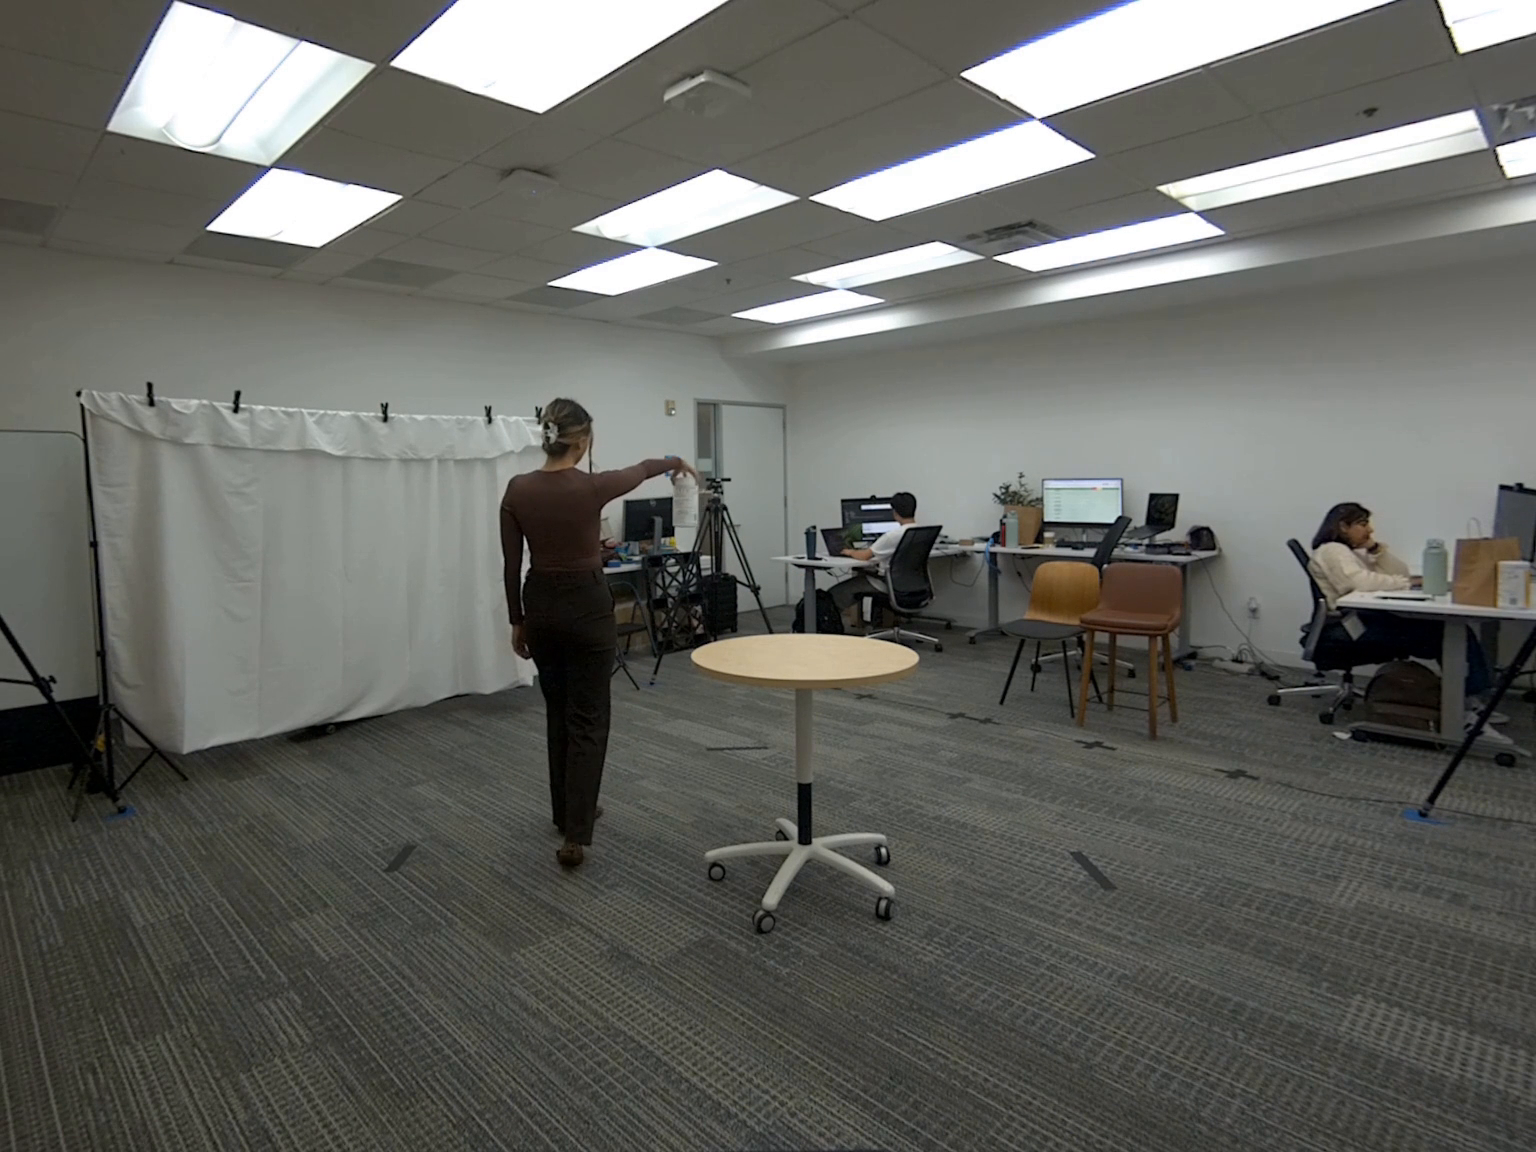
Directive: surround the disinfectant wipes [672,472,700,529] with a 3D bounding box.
[{"bbox_3d":[-0.356,-0.323,3.727,0.118,0.216,0.118,1,5,-2],"label":"disinfectant wipes"}]
